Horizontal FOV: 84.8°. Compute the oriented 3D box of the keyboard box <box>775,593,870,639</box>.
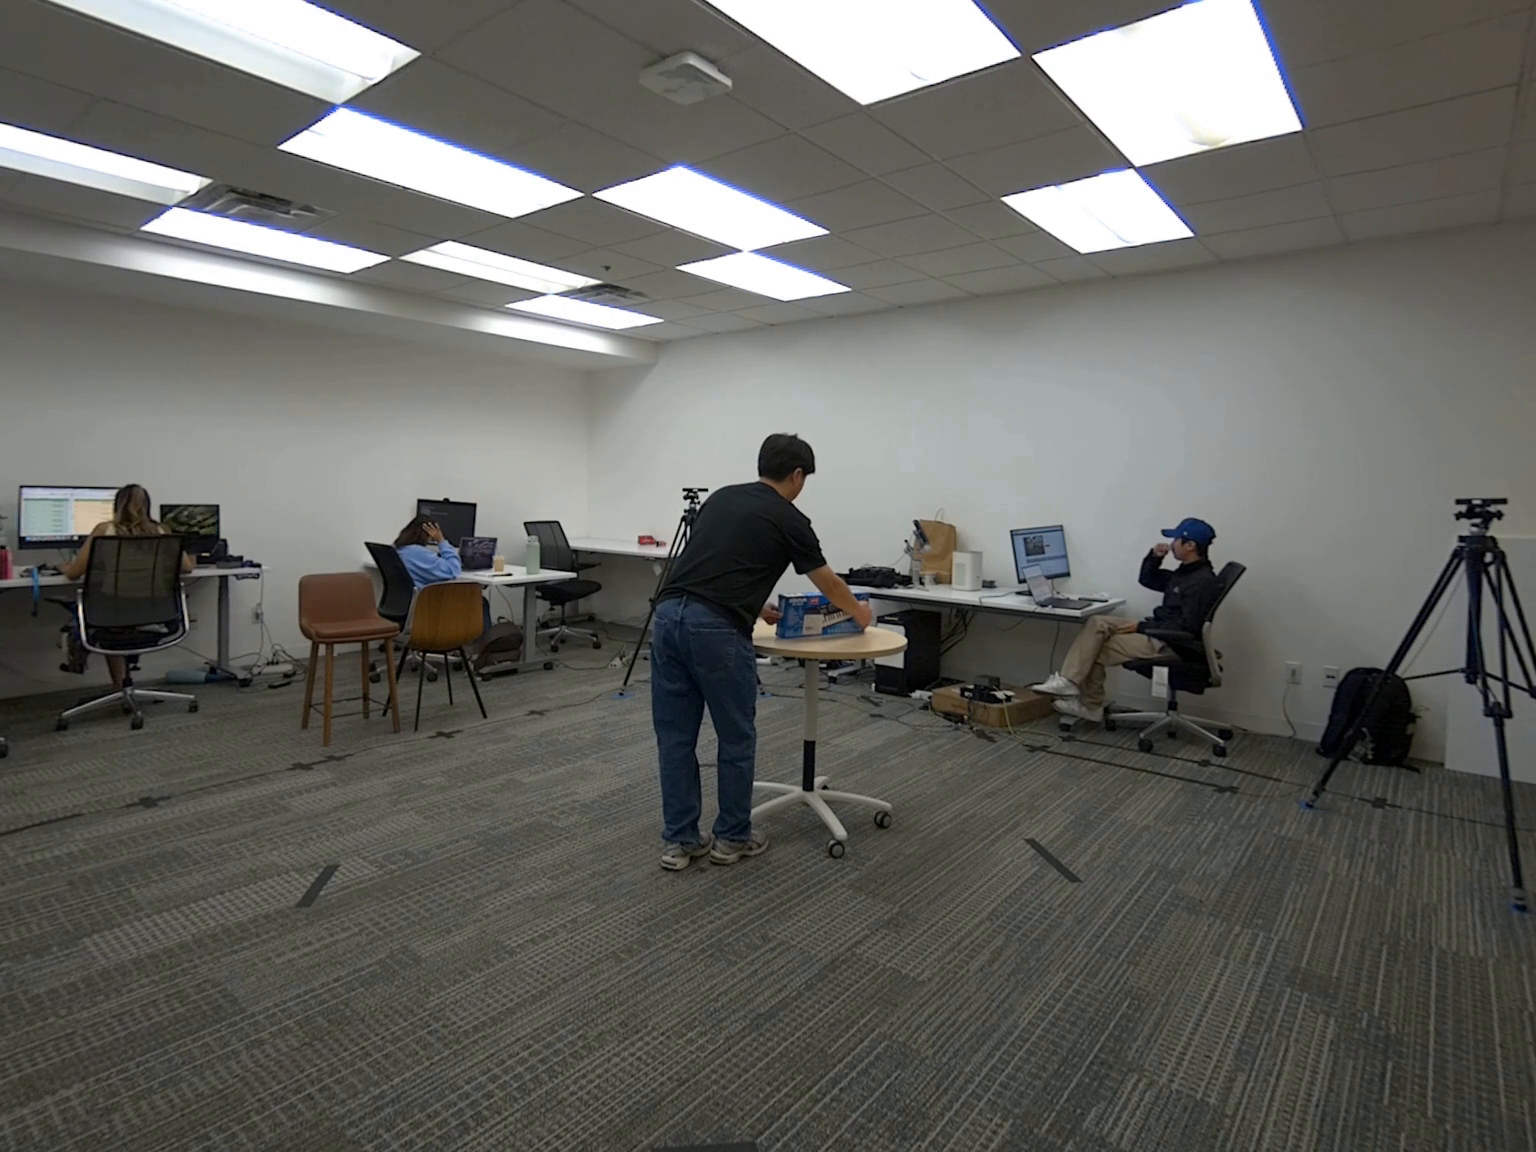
[{"bbox_3d":[0.237,0.157,3.545,0.425,0.175,0.061,-2,10,-33],"label":"keyboard box"}]
